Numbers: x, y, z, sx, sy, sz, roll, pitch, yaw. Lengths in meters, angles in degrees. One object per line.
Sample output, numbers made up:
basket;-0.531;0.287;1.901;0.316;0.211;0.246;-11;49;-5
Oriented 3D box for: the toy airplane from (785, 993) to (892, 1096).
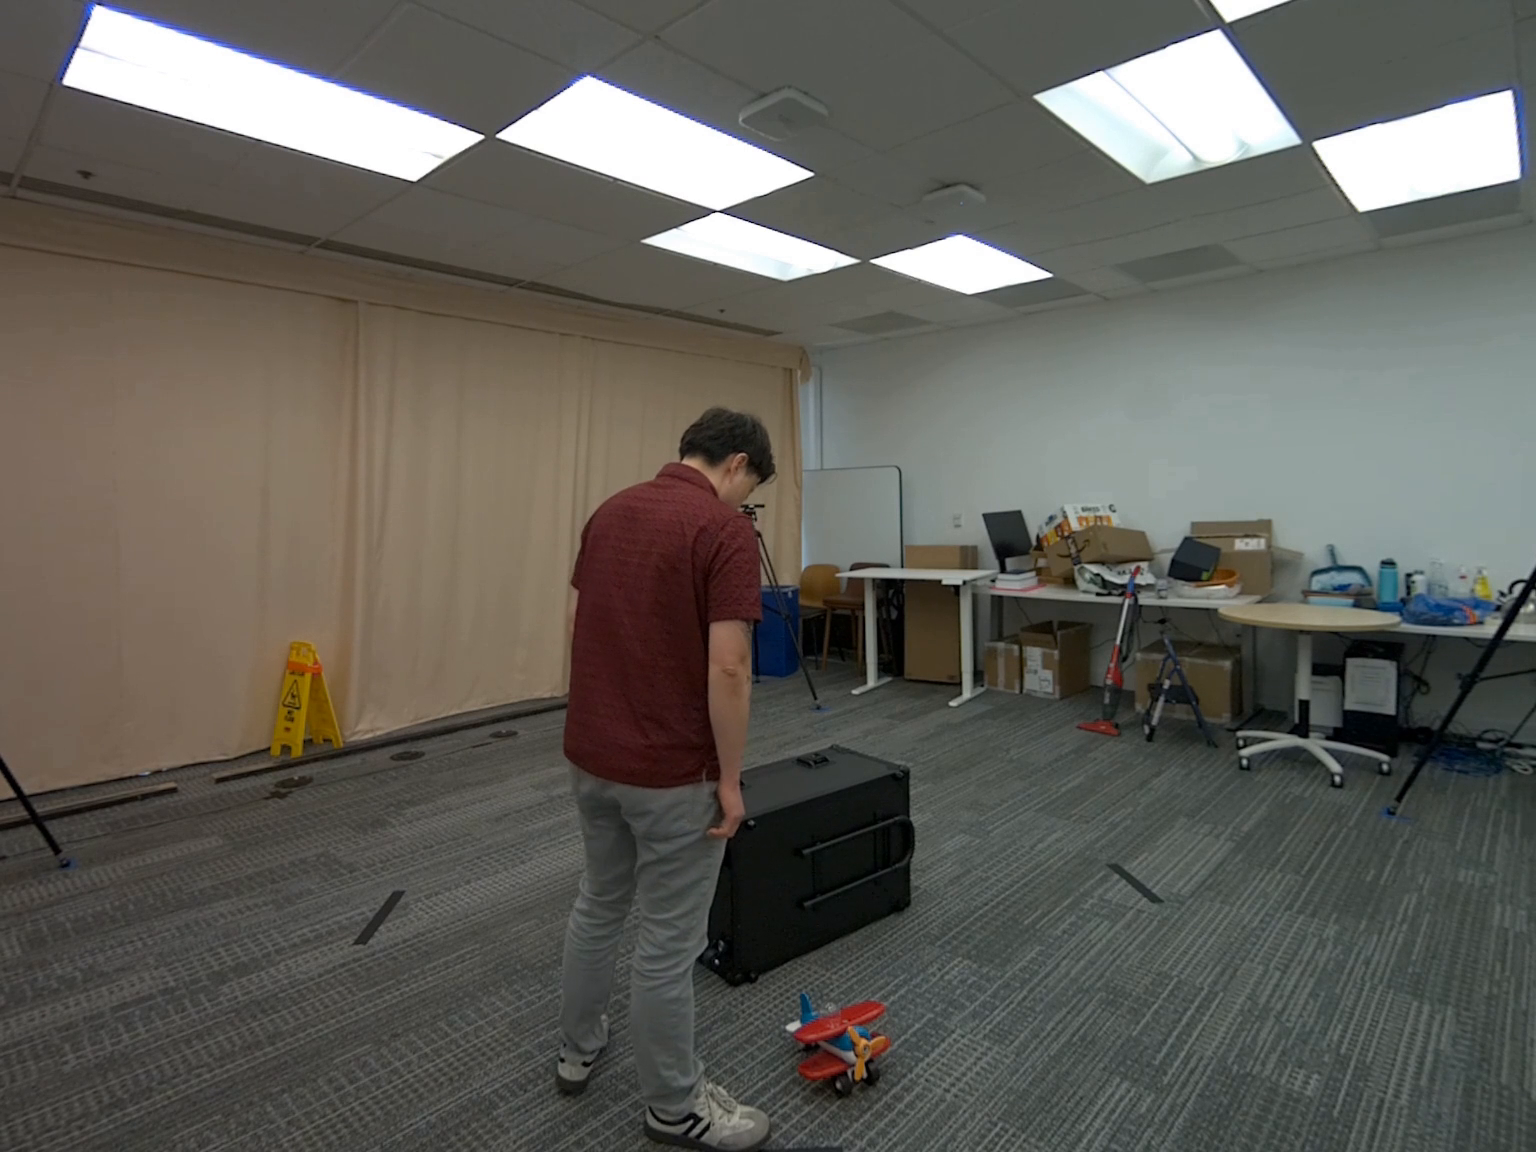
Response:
toy airplane;0.148;1.137;2.066;0.267;0.156;0.245;3;6;30
